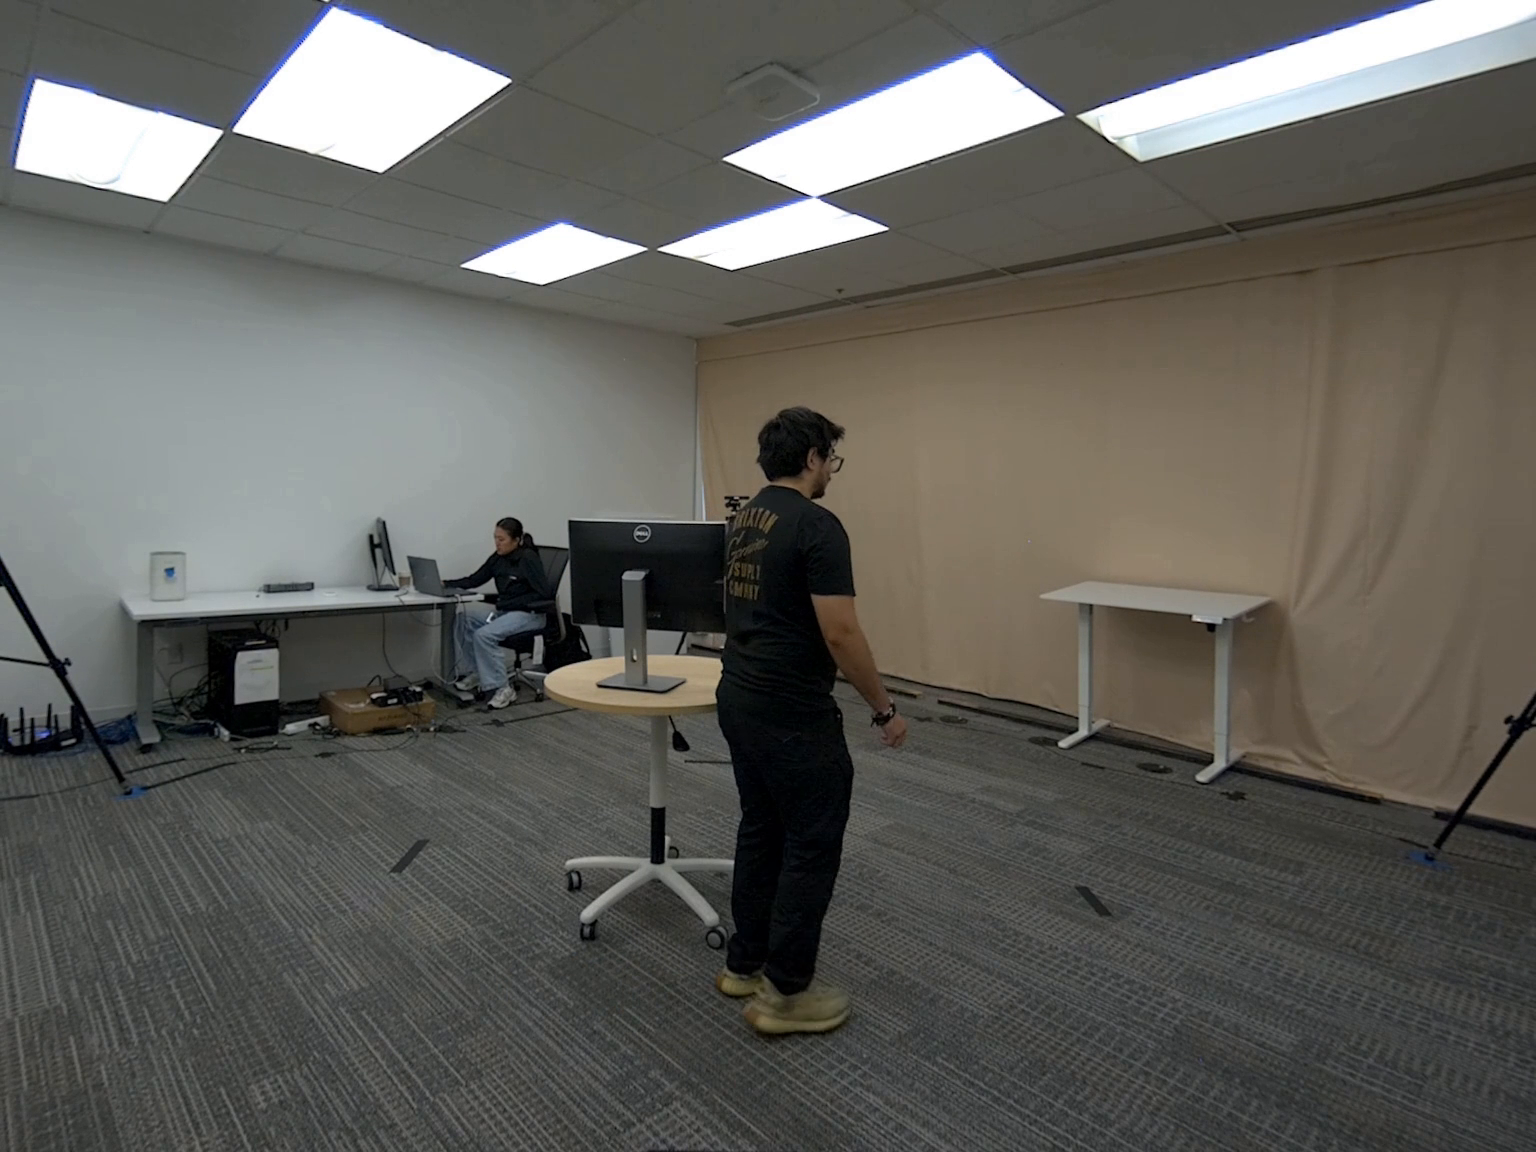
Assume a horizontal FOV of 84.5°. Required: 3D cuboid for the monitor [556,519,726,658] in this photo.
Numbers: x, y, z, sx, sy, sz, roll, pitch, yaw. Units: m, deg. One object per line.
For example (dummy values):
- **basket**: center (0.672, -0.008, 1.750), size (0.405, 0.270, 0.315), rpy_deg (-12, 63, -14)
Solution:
- **monitor**: center (-0.421, 0.095, 2.704), size (0.573, 0.551, 0.208), rpy_deg (2, 7, 17)
